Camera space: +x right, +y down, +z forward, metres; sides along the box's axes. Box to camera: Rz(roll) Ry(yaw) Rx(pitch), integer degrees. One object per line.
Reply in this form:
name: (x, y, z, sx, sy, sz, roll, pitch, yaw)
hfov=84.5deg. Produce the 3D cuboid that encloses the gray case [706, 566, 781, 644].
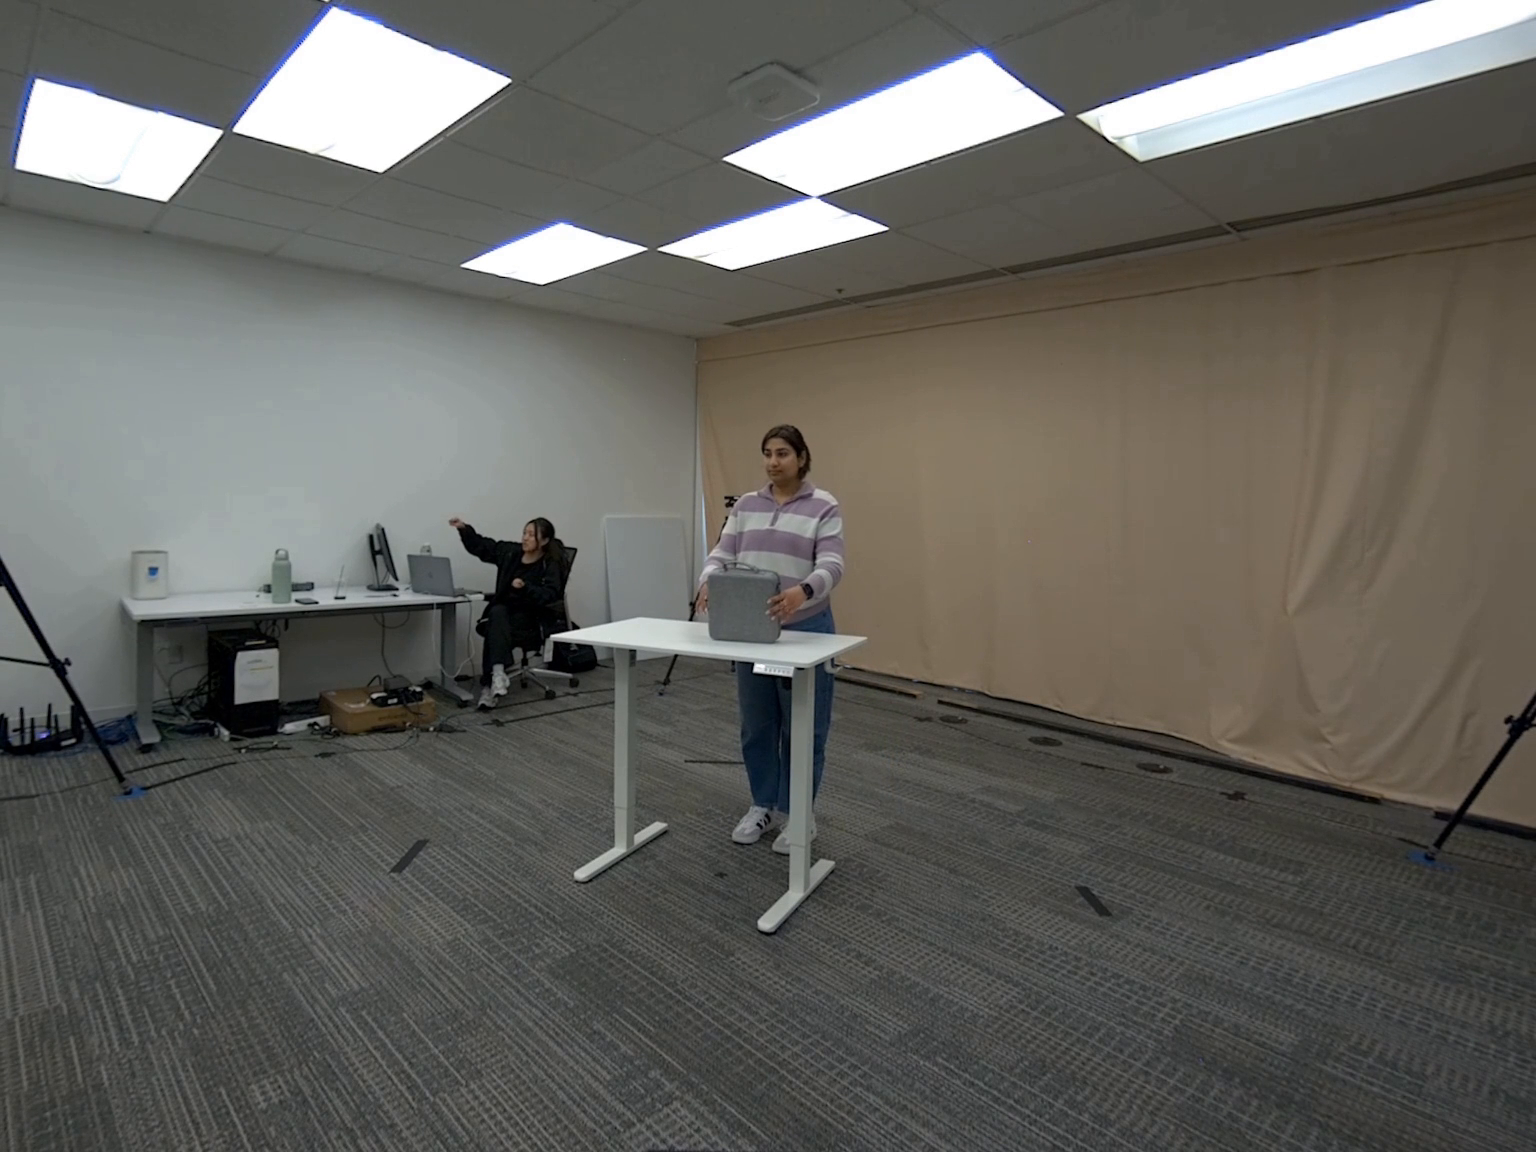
gray case: (-0.088, 0.104, 2.970, 0.261, 0.258, 0.104, 3, 13, 19)
